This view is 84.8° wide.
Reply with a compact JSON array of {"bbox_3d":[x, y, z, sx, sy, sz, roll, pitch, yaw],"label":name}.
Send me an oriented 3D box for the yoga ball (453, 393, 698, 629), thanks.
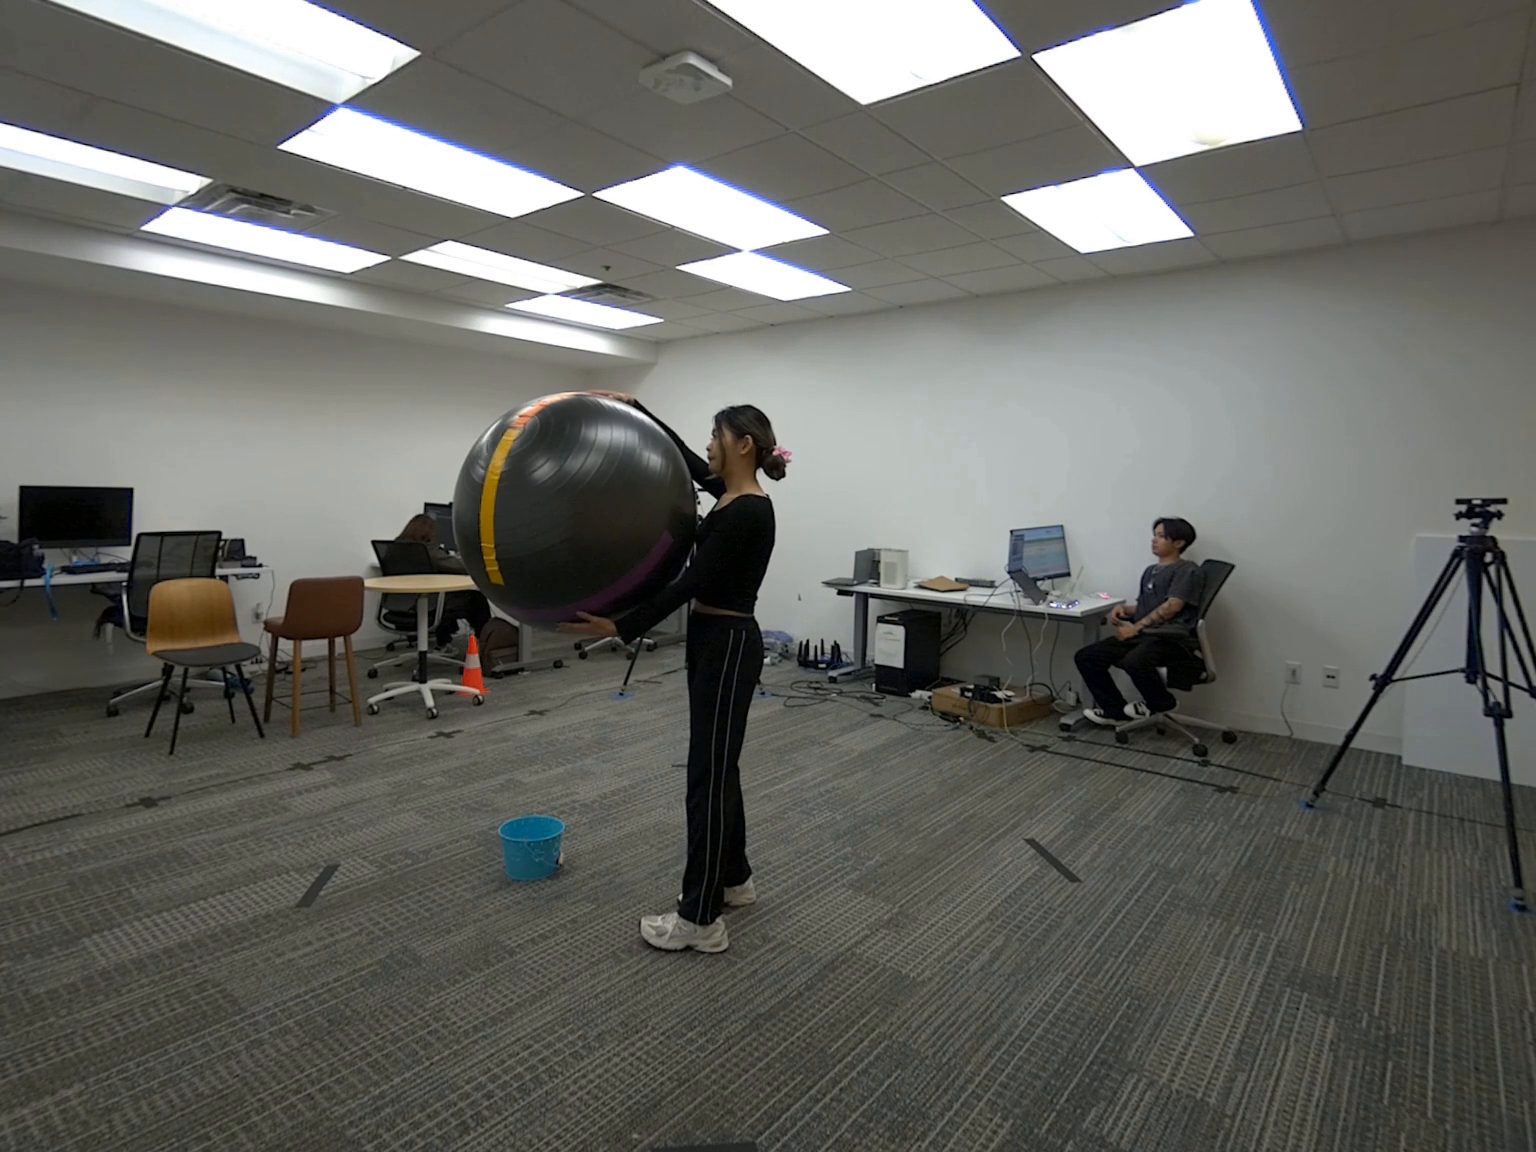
[{"bbox_3d":[-0.619,-0.192,2.676,0.757,0.755,0.762,1,4,-2],"label":"yoga ball"}]
